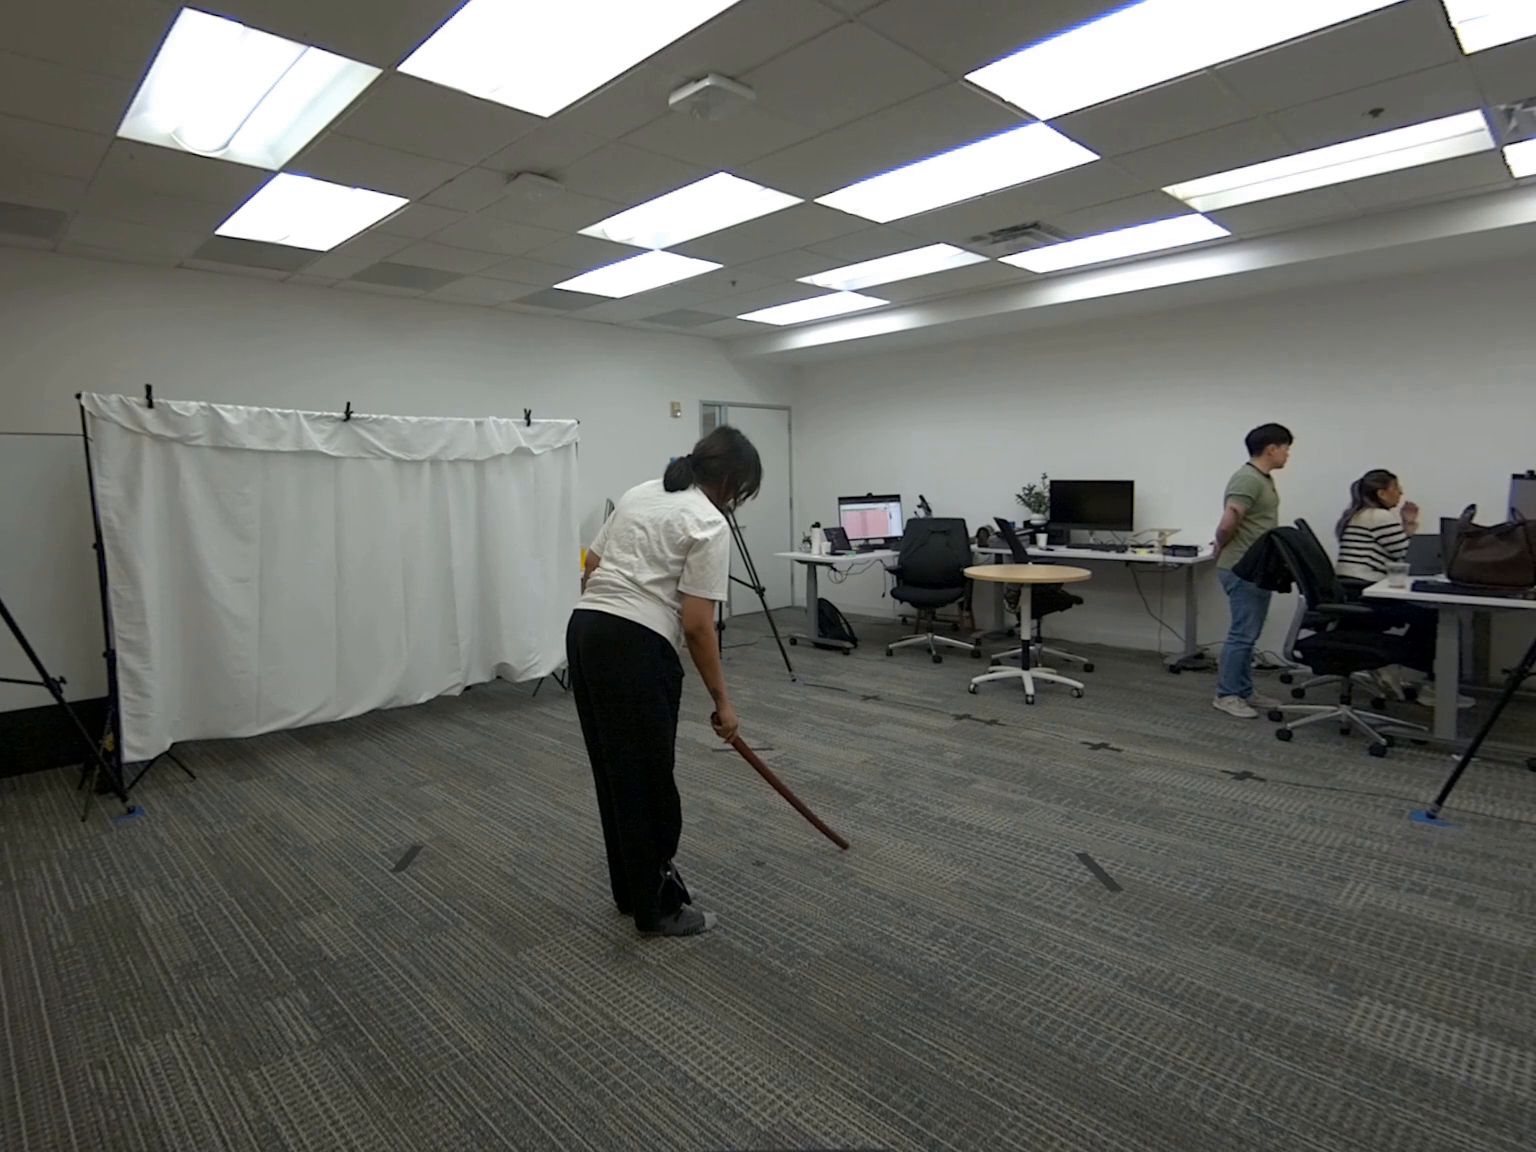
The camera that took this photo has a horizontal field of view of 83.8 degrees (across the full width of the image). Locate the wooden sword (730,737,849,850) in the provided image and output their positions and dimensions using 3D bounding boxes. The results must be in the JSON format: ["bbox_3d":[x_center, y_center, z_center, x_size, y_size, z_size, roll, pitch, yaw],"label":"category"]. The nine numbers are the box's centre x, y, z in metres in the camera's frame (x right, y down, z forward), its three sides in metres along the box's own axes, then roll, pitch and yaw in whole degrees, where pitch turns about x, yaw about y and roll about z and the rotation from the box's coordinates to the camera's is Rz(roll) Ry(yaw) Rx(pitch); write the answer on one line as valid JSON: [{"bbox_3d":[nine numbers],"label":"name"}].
[{"bbox_3d":[0.064,0.733,2.916,0.053,0.024,0.985,44,-5,48],"label":"wooden sword"}]
